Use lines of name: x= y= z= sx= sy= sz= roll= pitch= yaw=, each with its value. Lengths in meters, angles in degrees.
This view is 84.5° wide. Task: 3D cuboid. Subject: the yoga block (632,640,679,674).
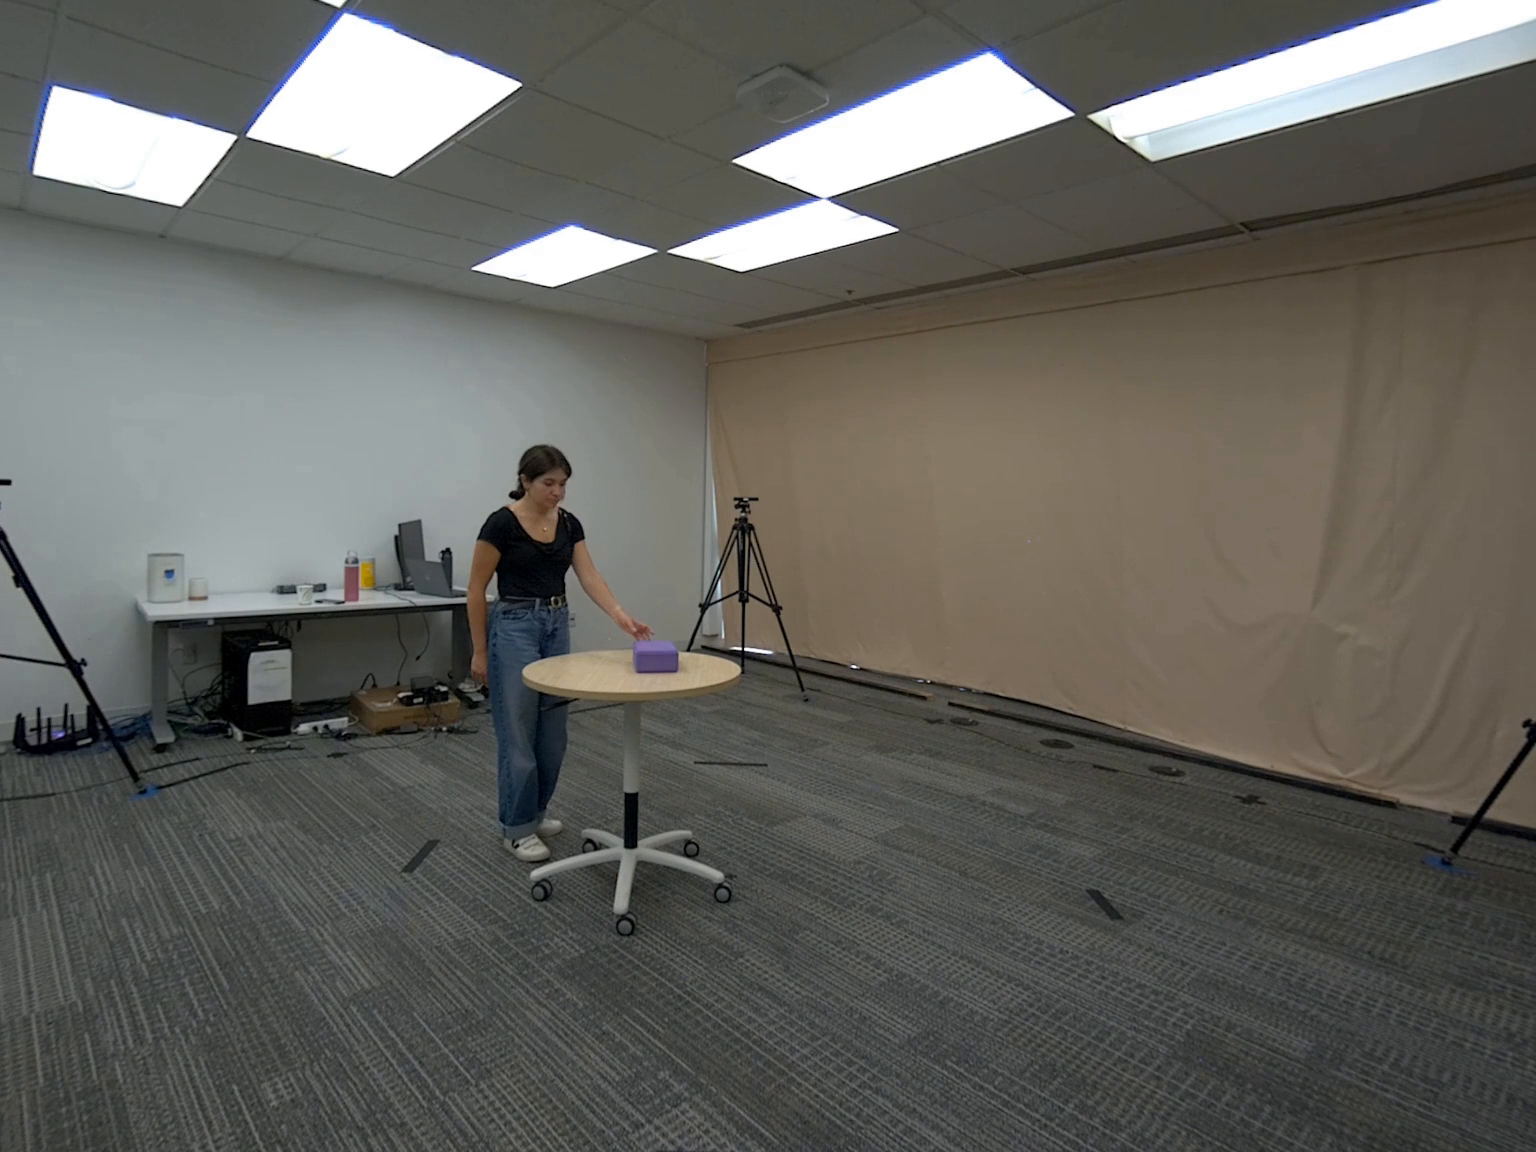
yoga block: x=-0.411 y=0.293 z=3.012 sx=0.148 sy=0.076 sz=0.231 roll=0 pitch=5 yaw=-9
